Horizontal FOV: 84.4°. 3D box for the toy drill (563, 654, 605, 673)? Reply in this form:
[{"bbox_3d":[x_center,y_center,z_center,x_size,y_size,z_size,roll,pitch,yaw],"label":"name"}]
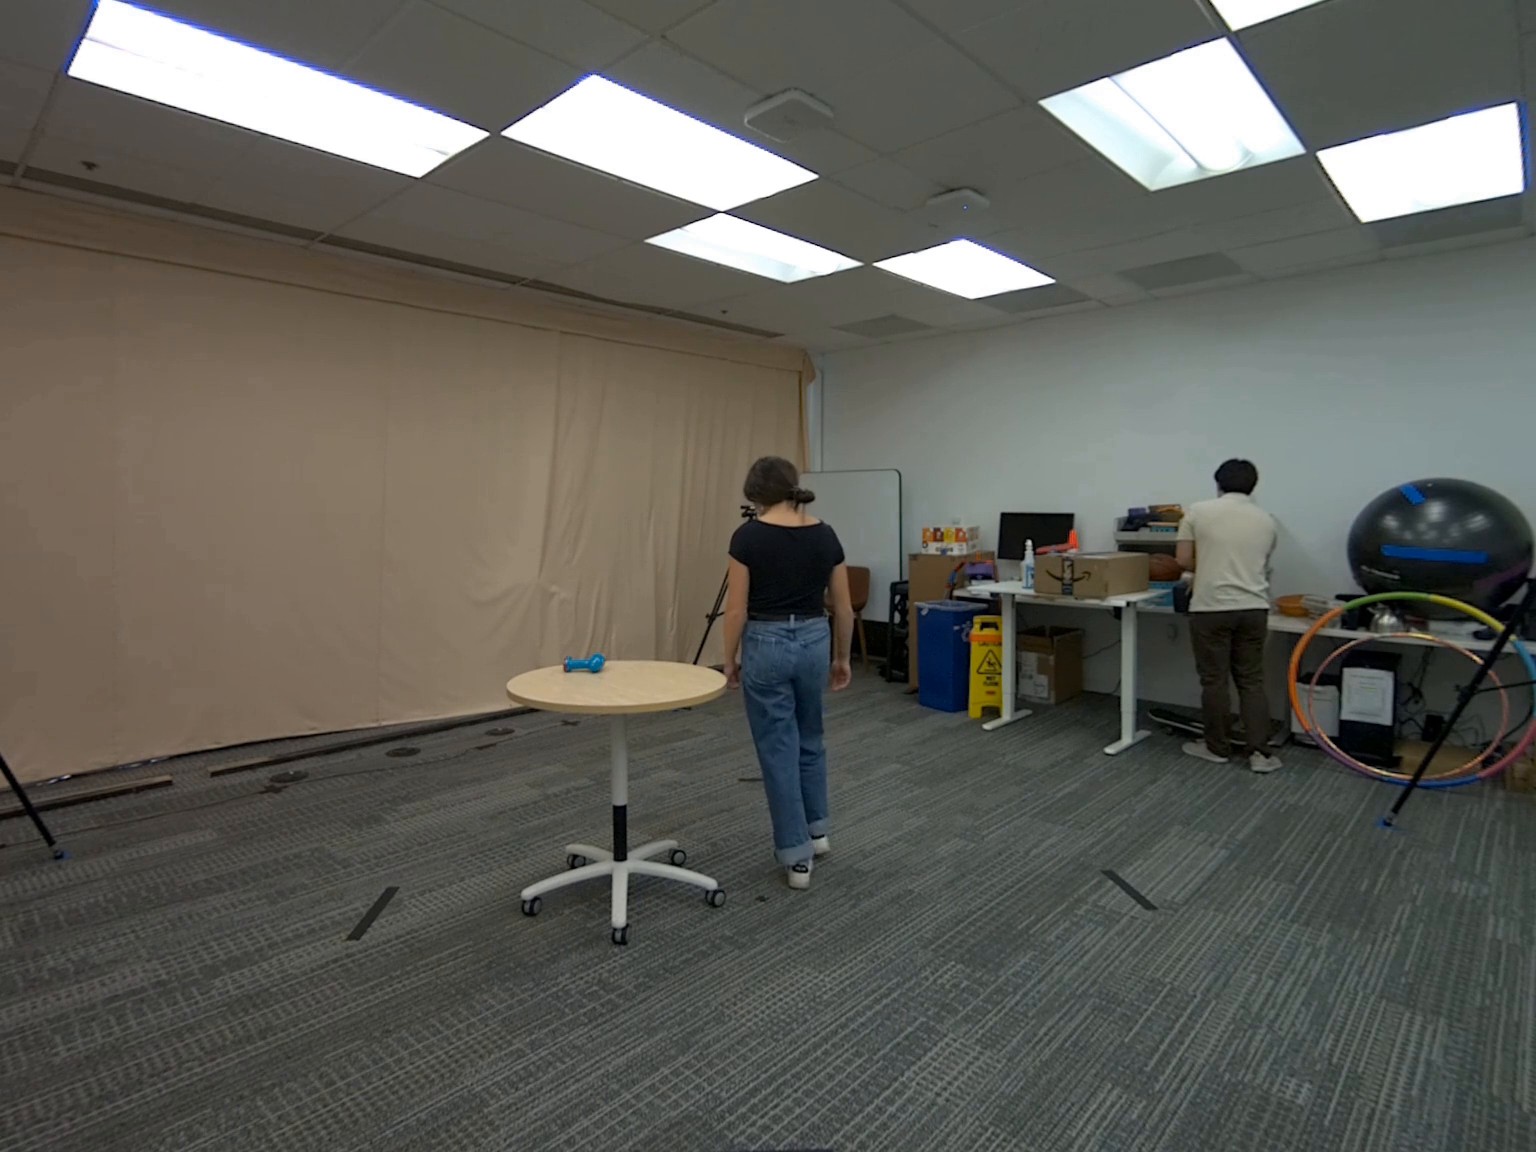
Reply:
[{"bbox_3d":[-0.673,0.323,3.162,0.147,0.061,0.170,-1,11,4],"label":"toy drill"}]
